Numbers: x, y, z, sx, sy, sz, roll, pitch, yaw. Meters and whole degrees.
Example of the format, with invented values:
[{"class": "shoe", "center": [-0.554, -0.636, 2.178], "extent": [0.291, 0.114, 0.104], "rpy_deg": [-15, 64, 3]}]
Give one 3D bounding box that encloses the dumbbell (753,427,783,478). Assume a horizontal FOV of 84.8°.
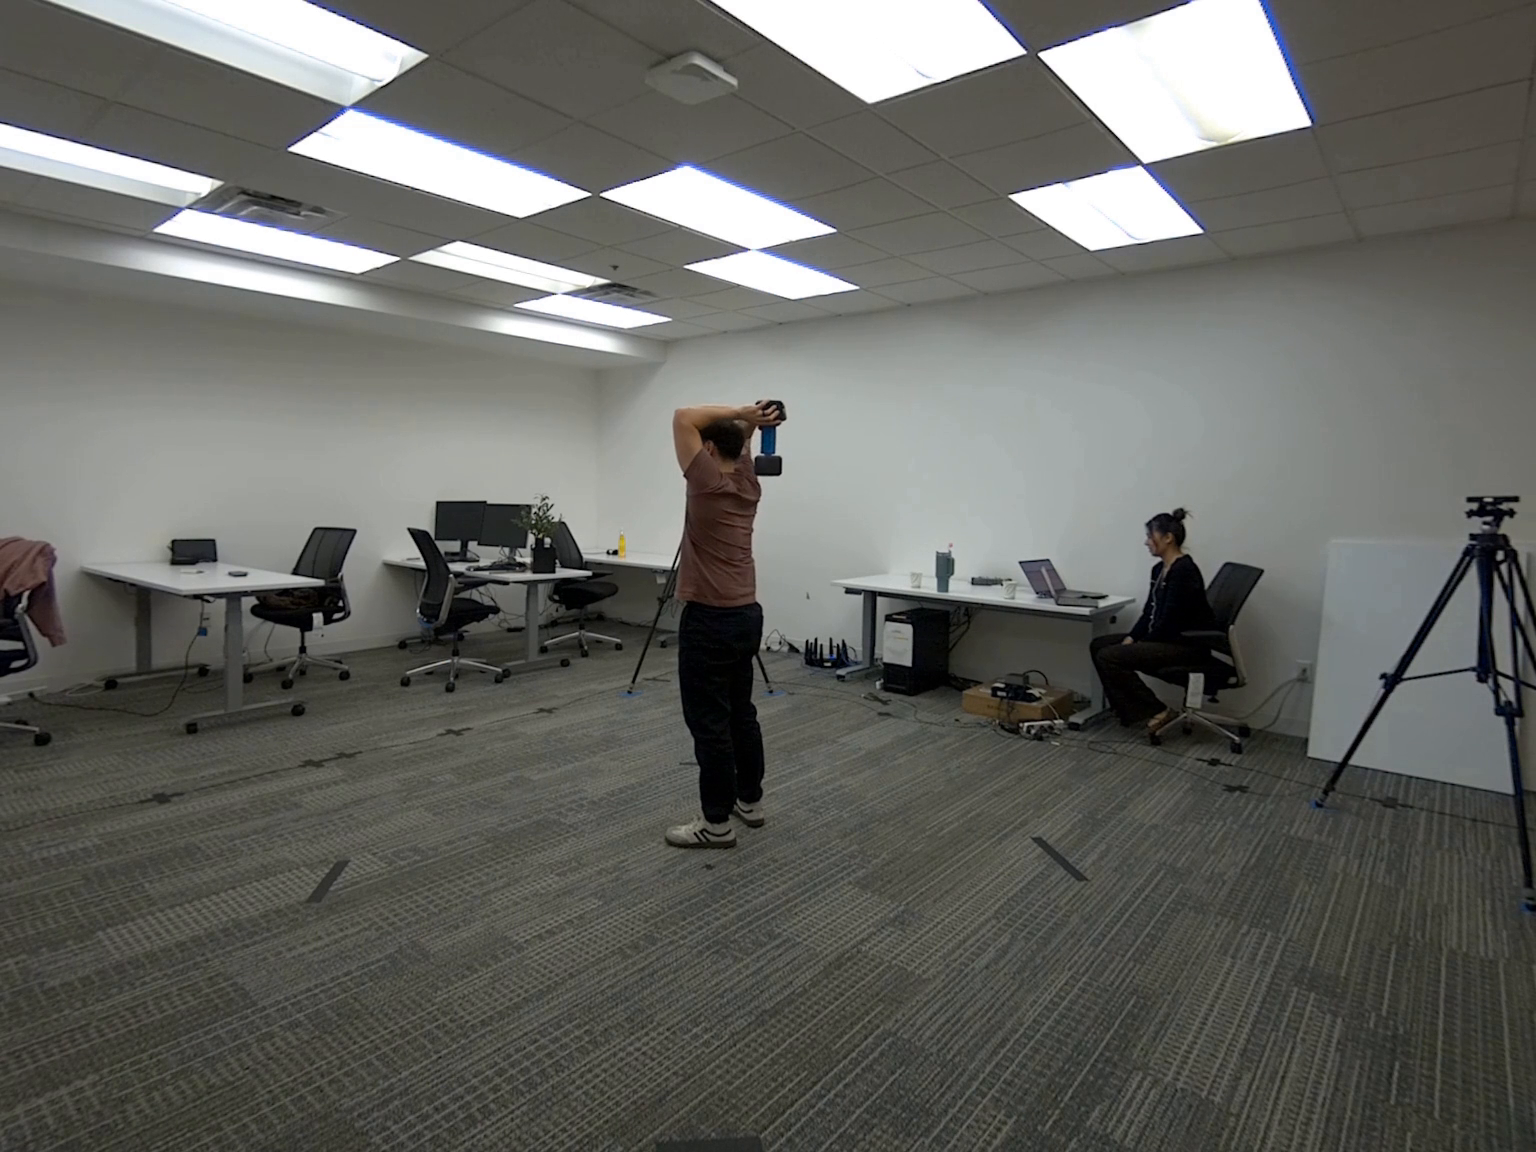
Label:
[{"class": "dumbbell", "center": [-0.012, -0.537, 3.318], "extent": [0.126, 0.293, 0.106], "rpy_deg": [0, 4, 33]}]
